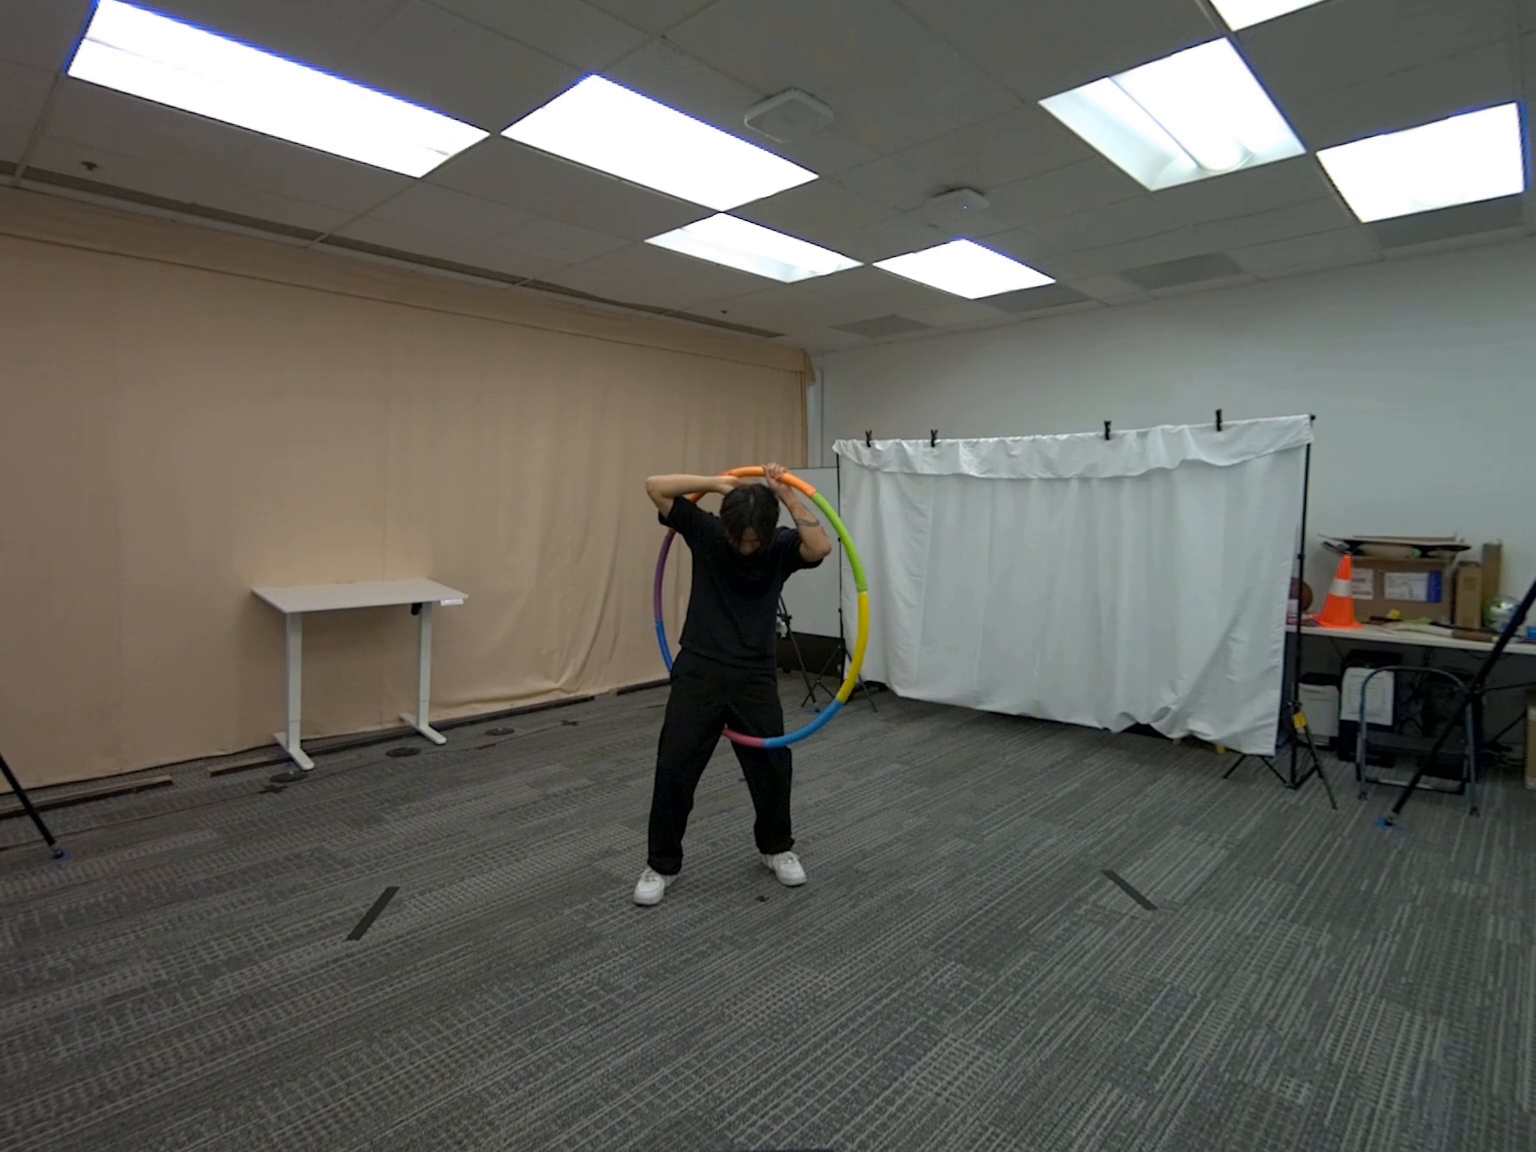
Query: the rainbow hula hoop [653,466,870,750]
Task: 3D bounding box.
[{"bbox_3d":[-0.051,0.102,3.016,1.011,0.978,0.034,3,2,40],"label":"rainbow hula hoop"}]
